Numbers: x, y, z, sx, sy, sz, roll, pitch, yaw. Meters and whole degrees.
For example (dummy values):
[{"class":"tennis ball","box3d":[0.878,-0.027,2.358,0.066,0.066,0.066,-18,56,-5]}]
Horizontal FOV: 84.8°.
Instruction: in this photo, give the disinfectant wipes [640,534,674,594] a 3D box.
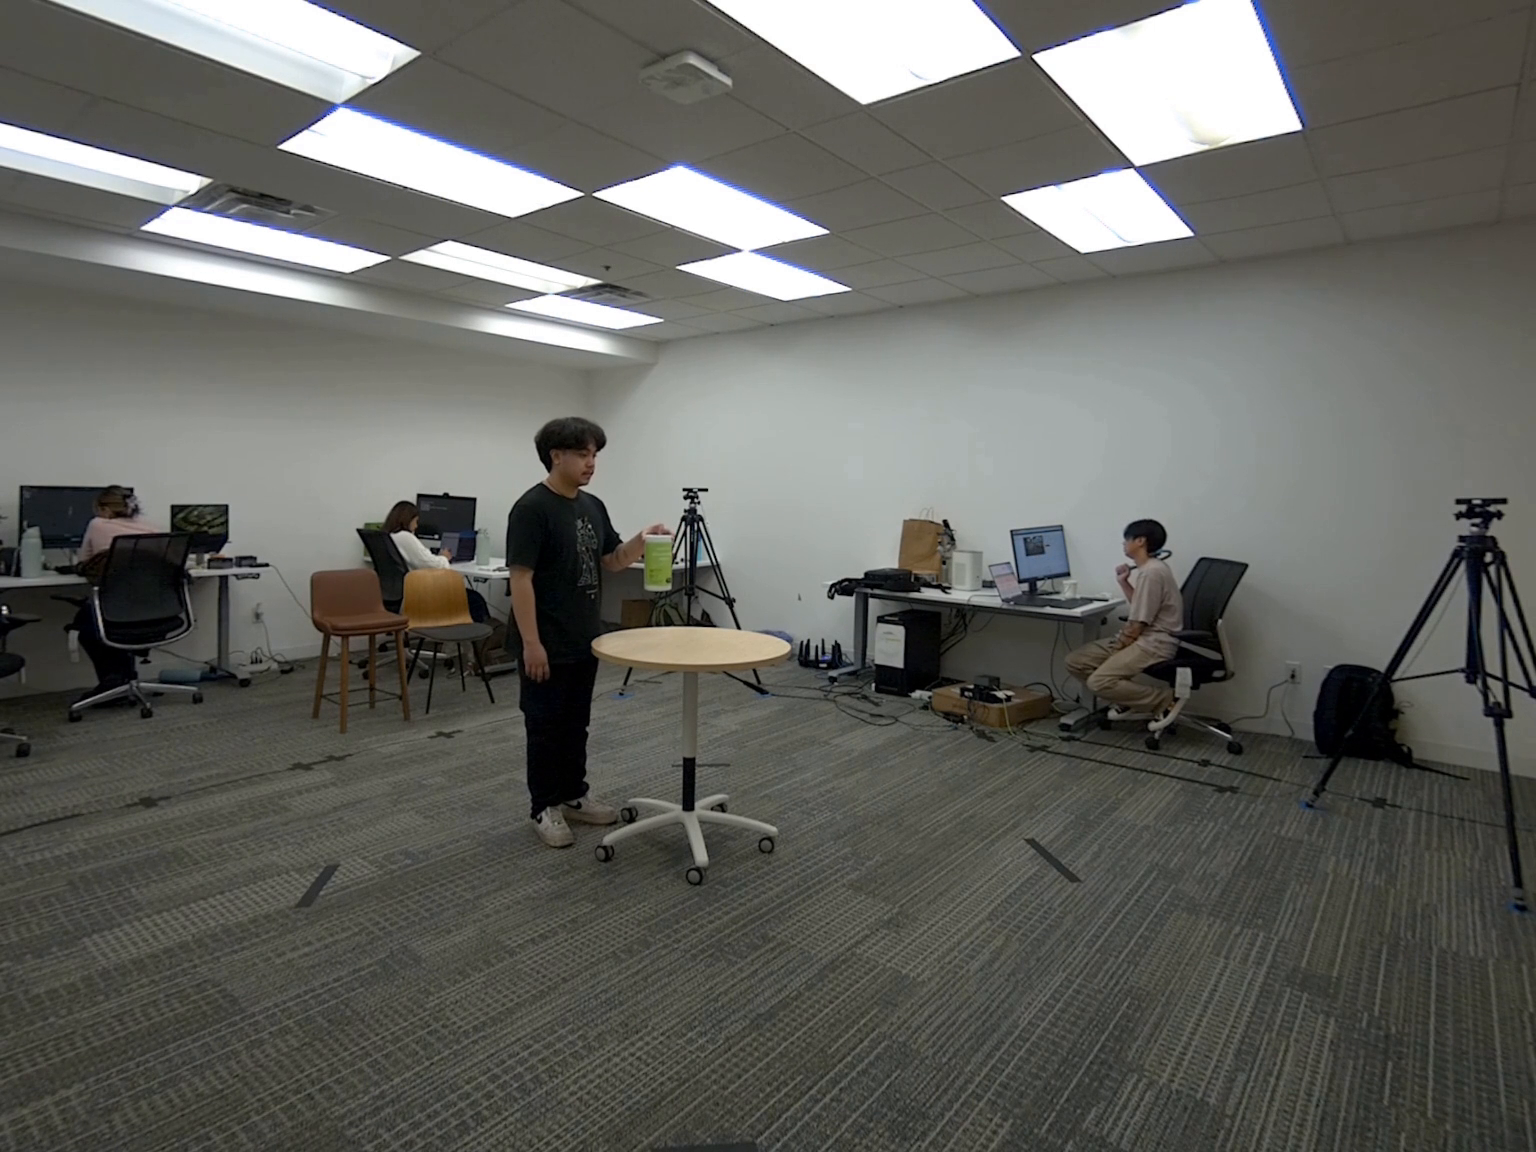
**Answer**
[{"class":"disinfectant wipes","box3d":[-0.441,-0.051,3.323,0.118,0.216,0.118,-1,6,-2]}]
